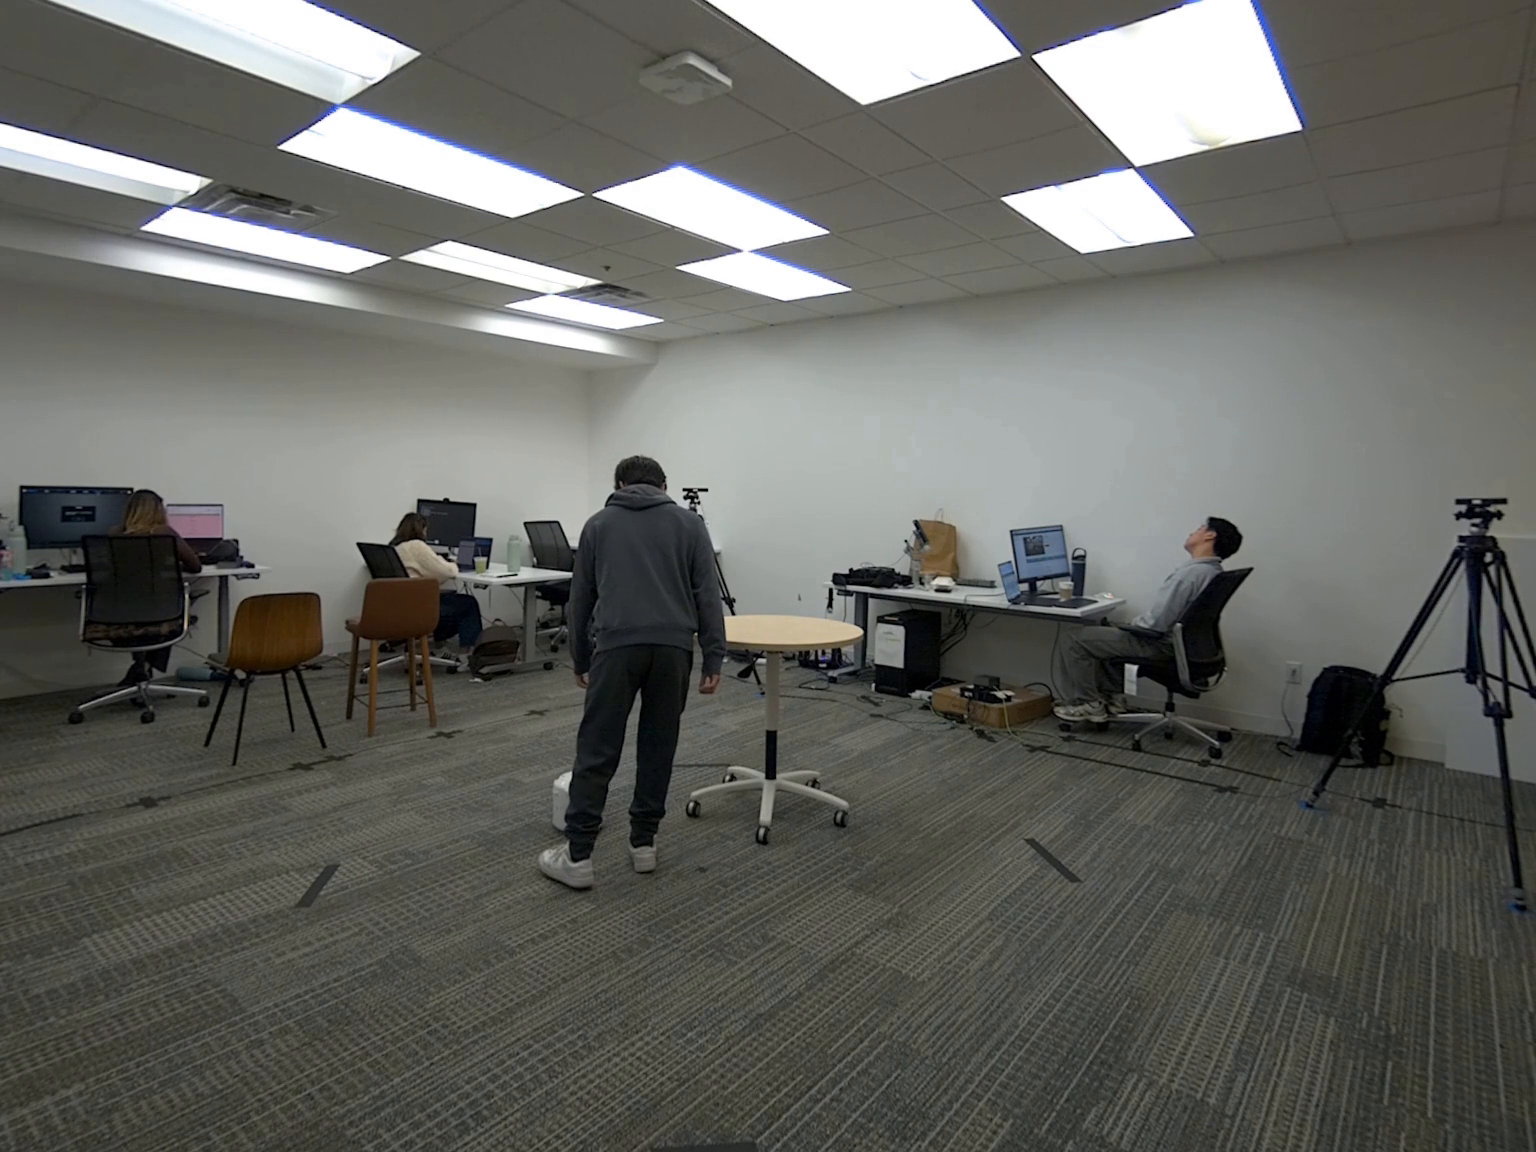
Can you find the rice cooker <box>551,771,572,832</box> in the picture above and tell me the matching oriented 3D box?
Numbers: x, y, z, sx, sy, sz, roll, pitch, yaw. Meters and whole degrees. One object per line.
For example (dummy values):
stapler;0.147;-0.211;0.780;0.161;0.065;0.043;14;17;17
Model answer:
rice cooker;-0.781;0.906;3.476;0.220;0.232;0.218;2;4;12
